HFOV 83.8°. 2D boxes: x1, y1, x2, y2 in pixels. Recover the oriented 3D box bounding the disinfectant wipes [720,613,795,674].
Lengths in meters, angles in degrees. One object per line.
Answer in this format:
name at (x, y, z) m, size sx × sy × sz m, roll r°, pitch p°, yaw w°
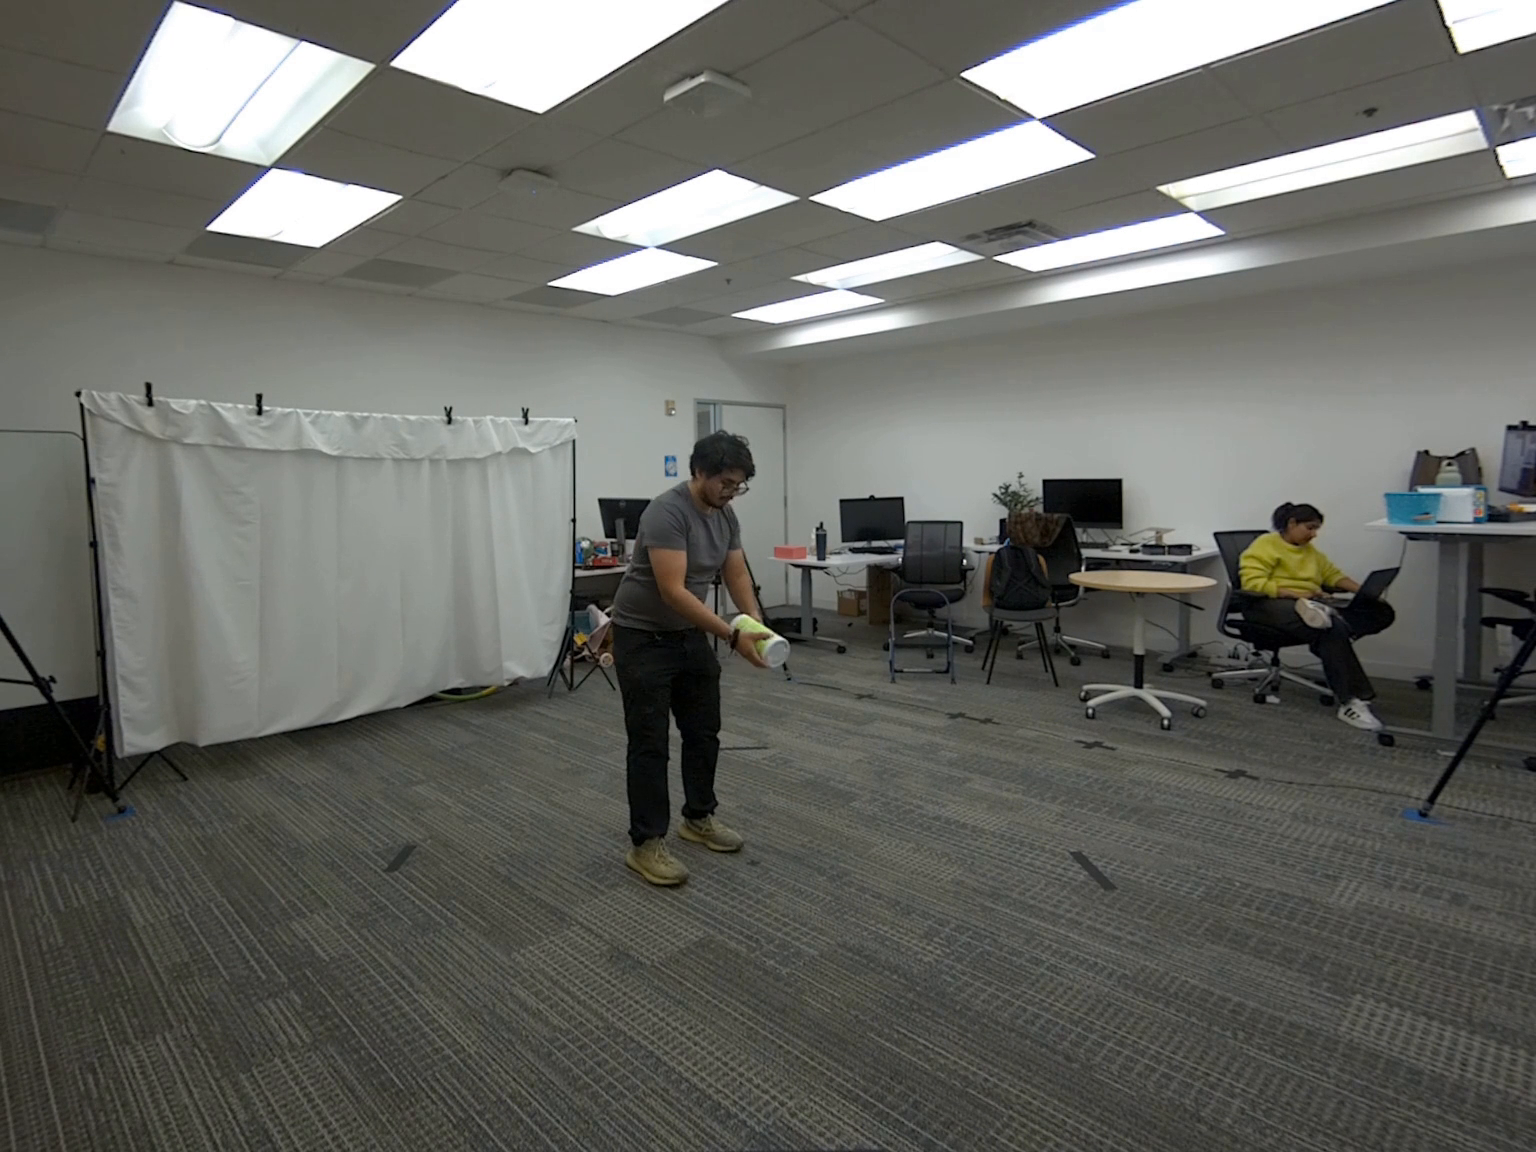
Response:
disinfectant wipes at (-0.038, 0.221, 2.911) m, size 0.114 × 0.116 × 0.226 m, roll -5°, pitch 23°, yaw -42°
